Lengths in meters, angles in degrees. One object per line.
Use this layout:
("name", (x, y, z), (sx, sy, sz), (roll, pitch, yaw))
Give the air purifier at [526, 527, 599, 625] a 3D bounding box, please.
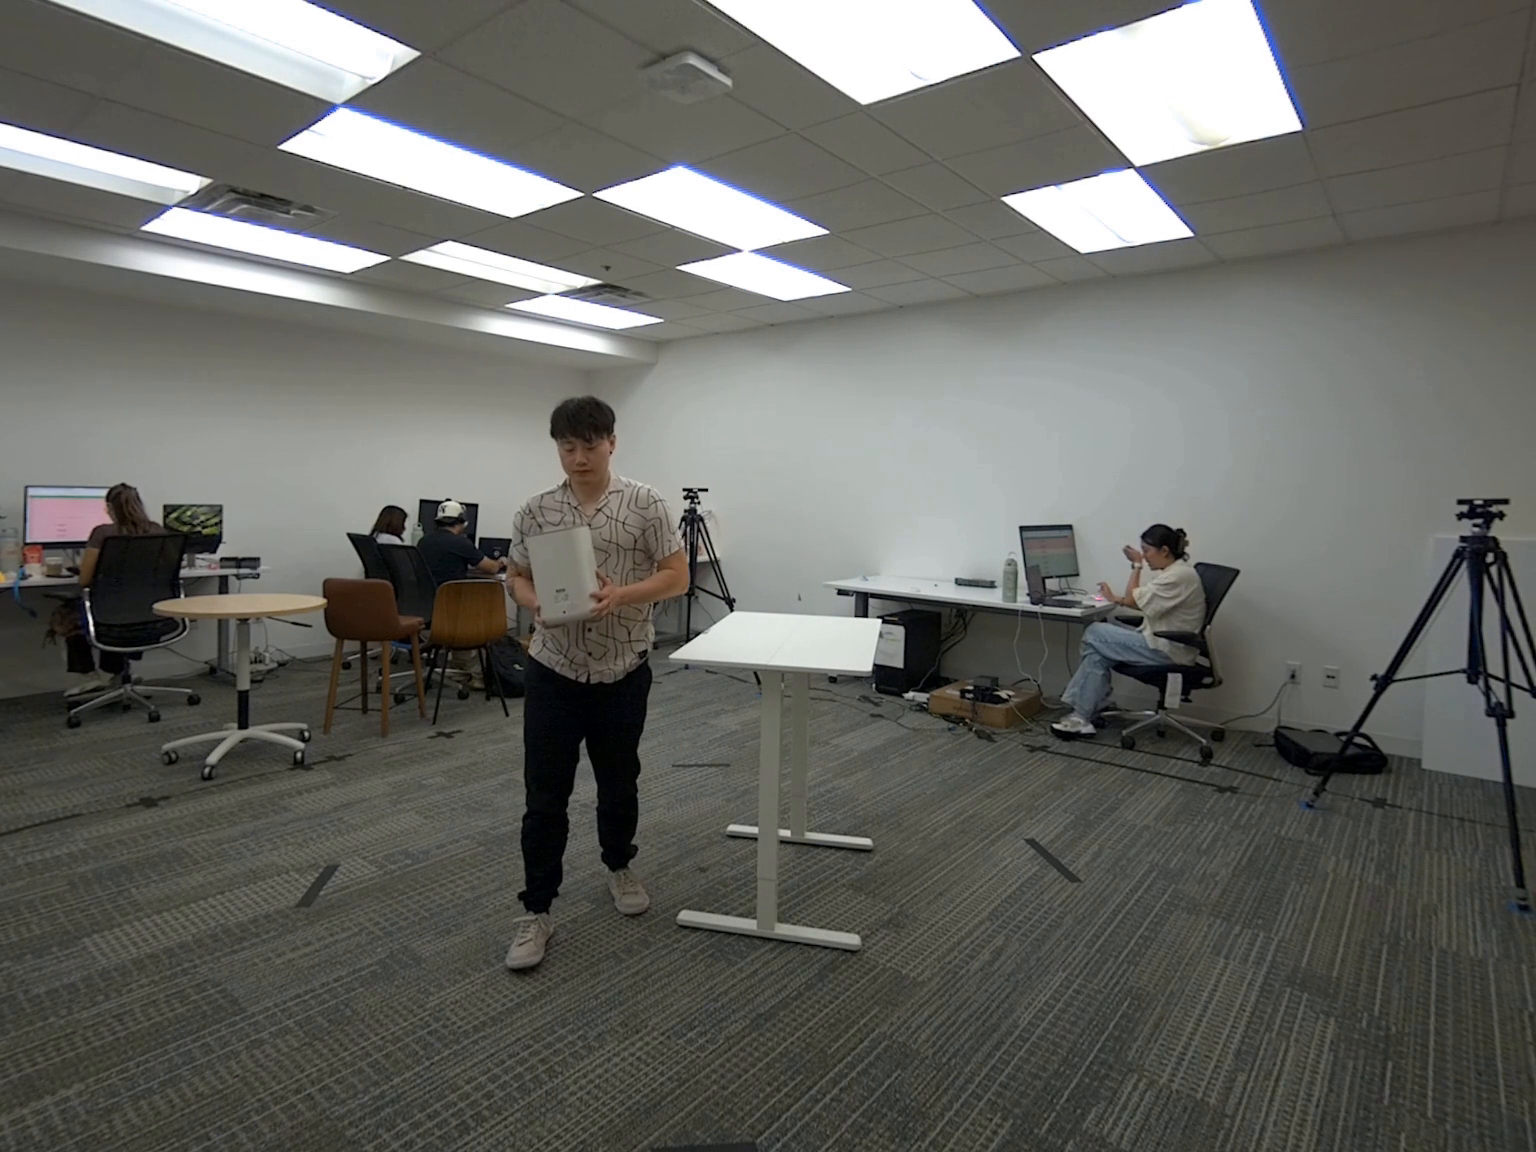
("air purifier", (-0.590, -0.010, 2.464), (0.171, 0.265, 0.172), (-8, 1, 0))
